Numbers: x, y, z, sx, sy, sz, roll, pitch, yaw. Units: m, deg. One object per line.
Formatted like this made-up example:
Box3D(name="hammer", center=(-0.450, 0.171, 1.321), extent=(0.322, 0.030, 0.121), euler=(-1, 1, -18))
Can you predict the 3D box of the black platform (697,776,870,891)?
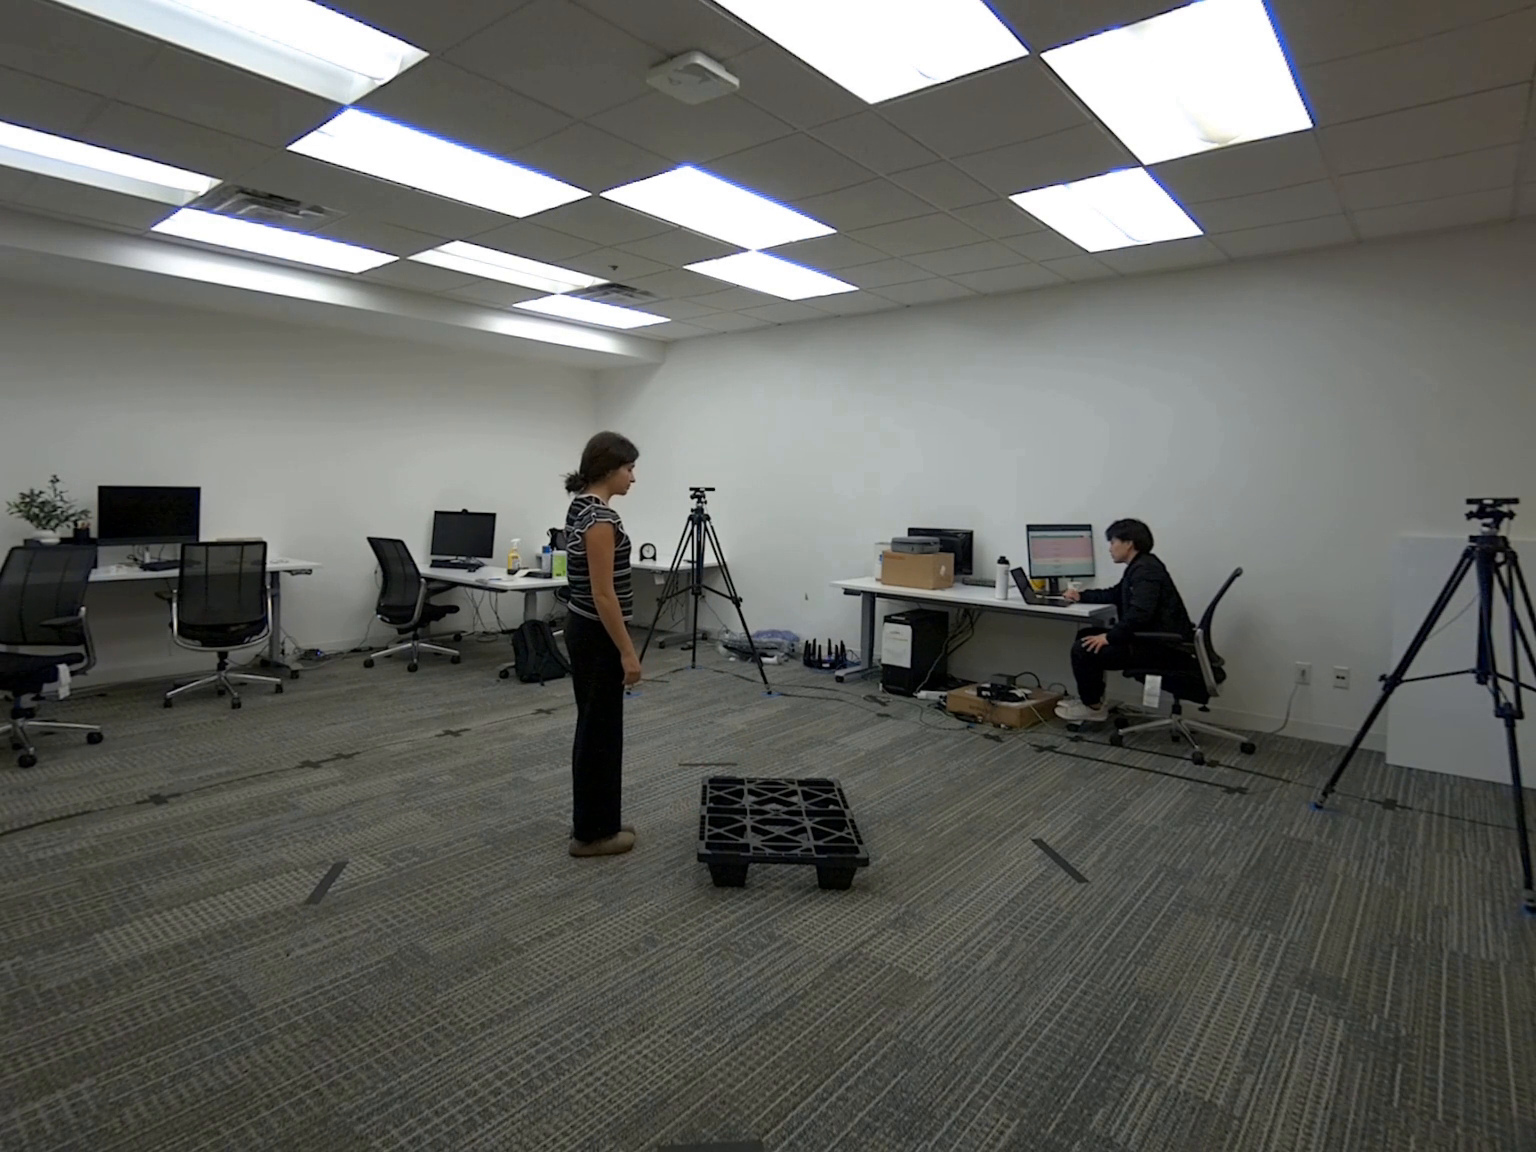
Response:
Box3D(name="black platform", center=(0.019, 0.981, 3.323), extent=(0.605, 0.143, 0.809), euler=(0, 5, -2))
